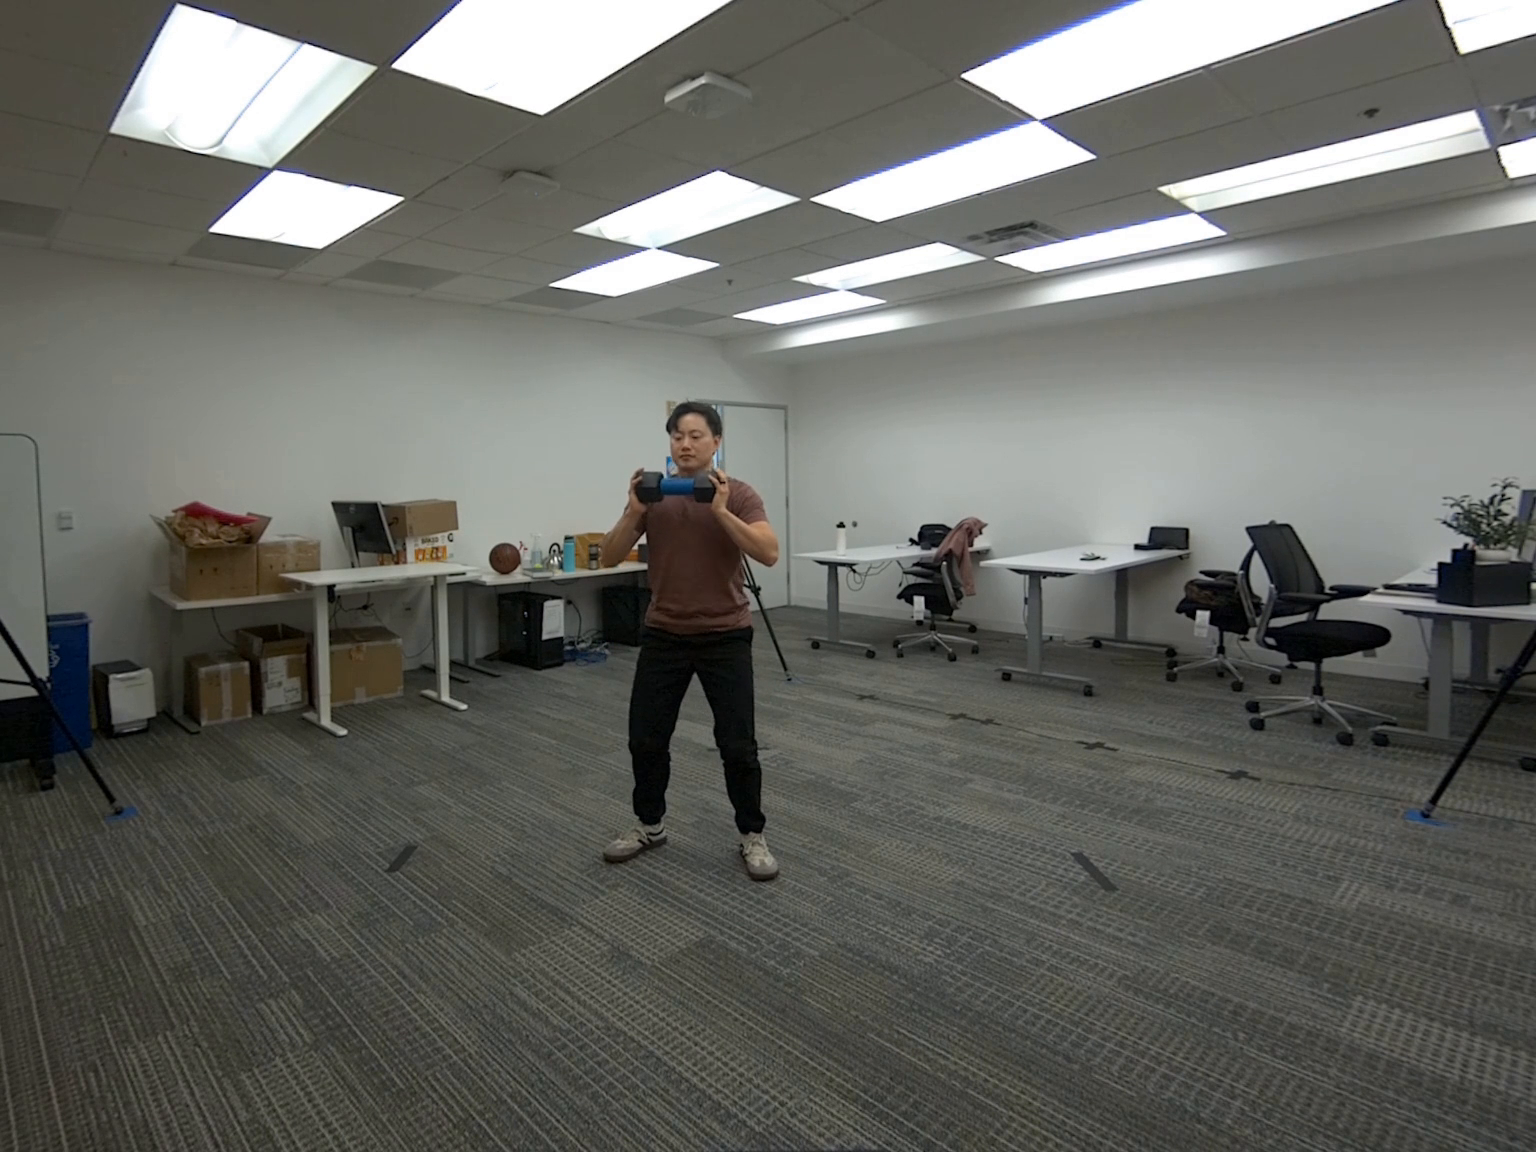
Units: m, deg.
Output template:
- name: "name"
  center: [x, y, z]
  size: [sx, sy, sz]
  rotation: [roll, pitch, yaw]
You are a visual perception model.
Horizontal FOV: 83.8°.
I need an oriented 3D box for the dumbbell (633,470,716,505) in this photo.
- name: "dumbbell"
  center: [-0.317, -0.291, 2.981]
  size: [0.298, 0.119, 0.110]
  rotation: [6, 37, 13]
